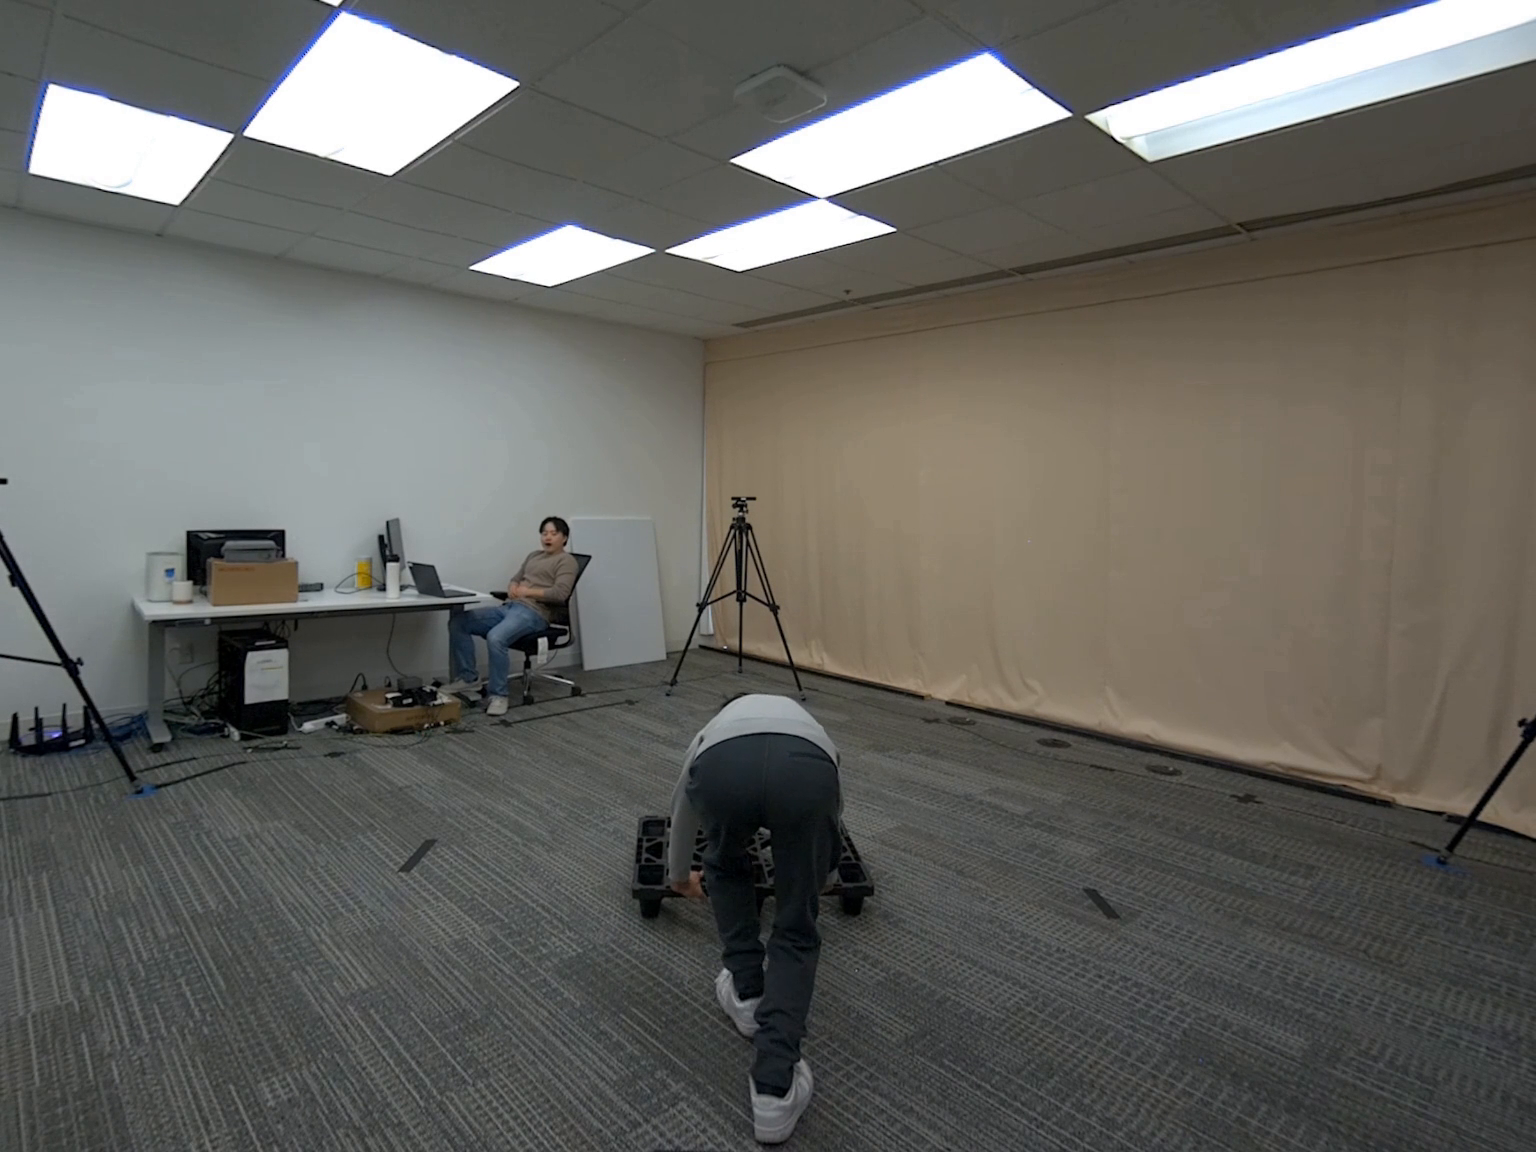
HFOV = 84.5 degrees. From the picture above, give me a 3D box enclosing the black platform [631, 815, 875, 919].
[{"bbox_3d":[-0.086,1.046,3.033,0.803,0.143,0.609,1,5,-5],"label":"black platform"}]
